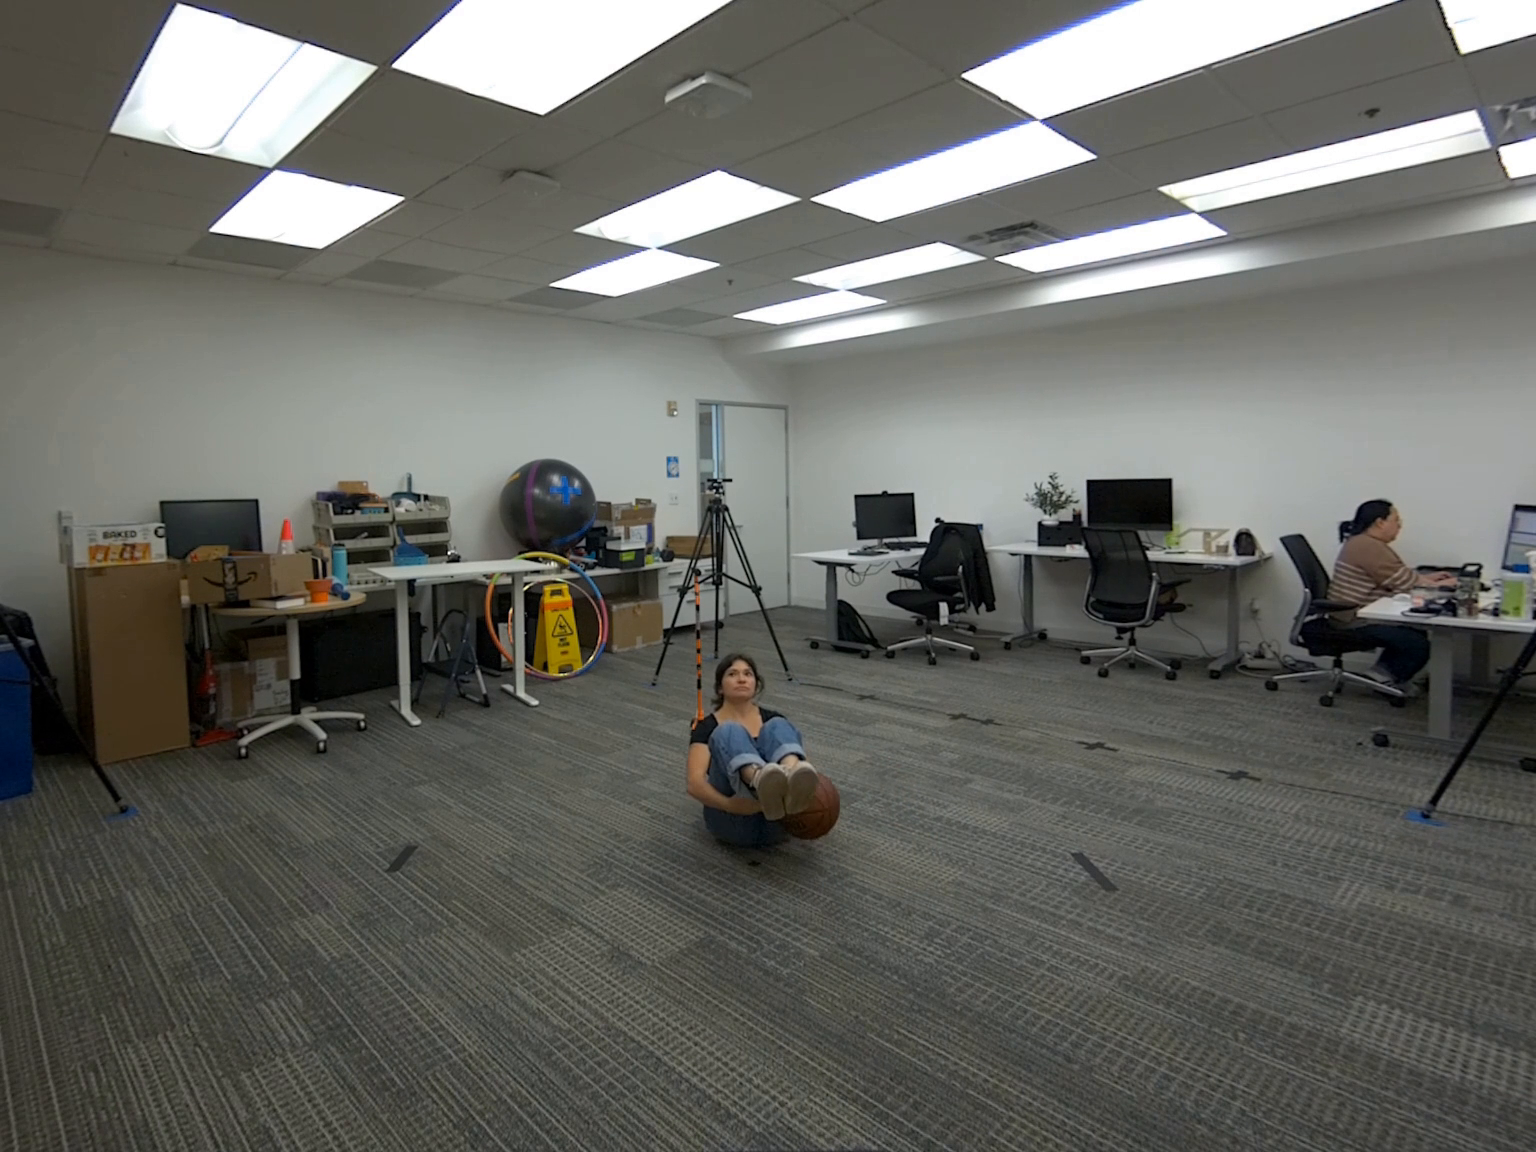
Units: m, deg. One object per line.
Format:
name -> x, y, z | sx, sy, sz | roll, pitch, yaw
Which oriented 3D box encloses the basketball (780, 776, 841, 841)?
basketball -> 0.129, 0.812, 3.057 | 0.236, 0.235, 0.237 | -1, 5, -2
